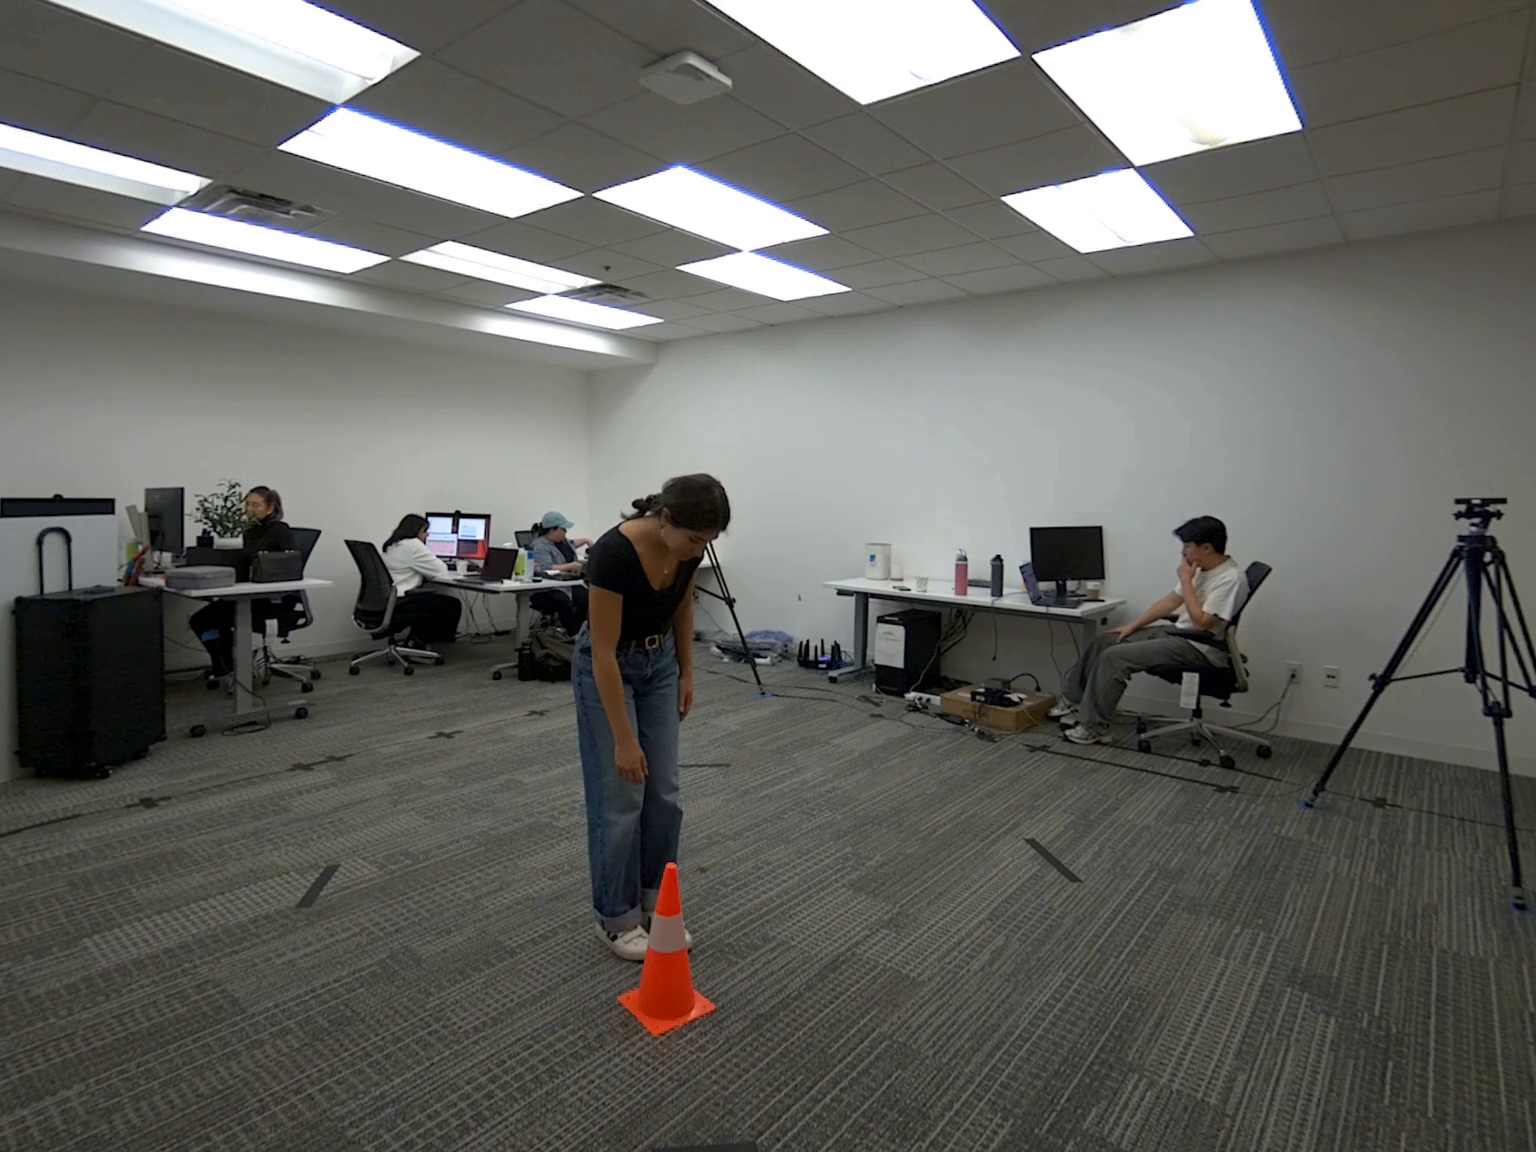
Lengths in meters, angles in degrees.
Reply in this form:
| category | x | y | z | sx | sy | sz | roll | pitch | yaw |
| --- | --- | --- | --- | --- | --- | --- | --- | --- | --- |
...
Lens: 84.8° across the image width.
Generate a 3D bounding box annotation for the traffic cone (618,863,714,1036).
| category | x | y | z | sx | sy | sz | roll | pitch | yaw |
| --- | --- | --- | --- | --- | --- | --- | --- | --- | --- |
| traffic cone | -0.273 | 0.962 | 2.286 | 0.199 | 0.383 | 0.209 | -2 | 4 | -31 |
